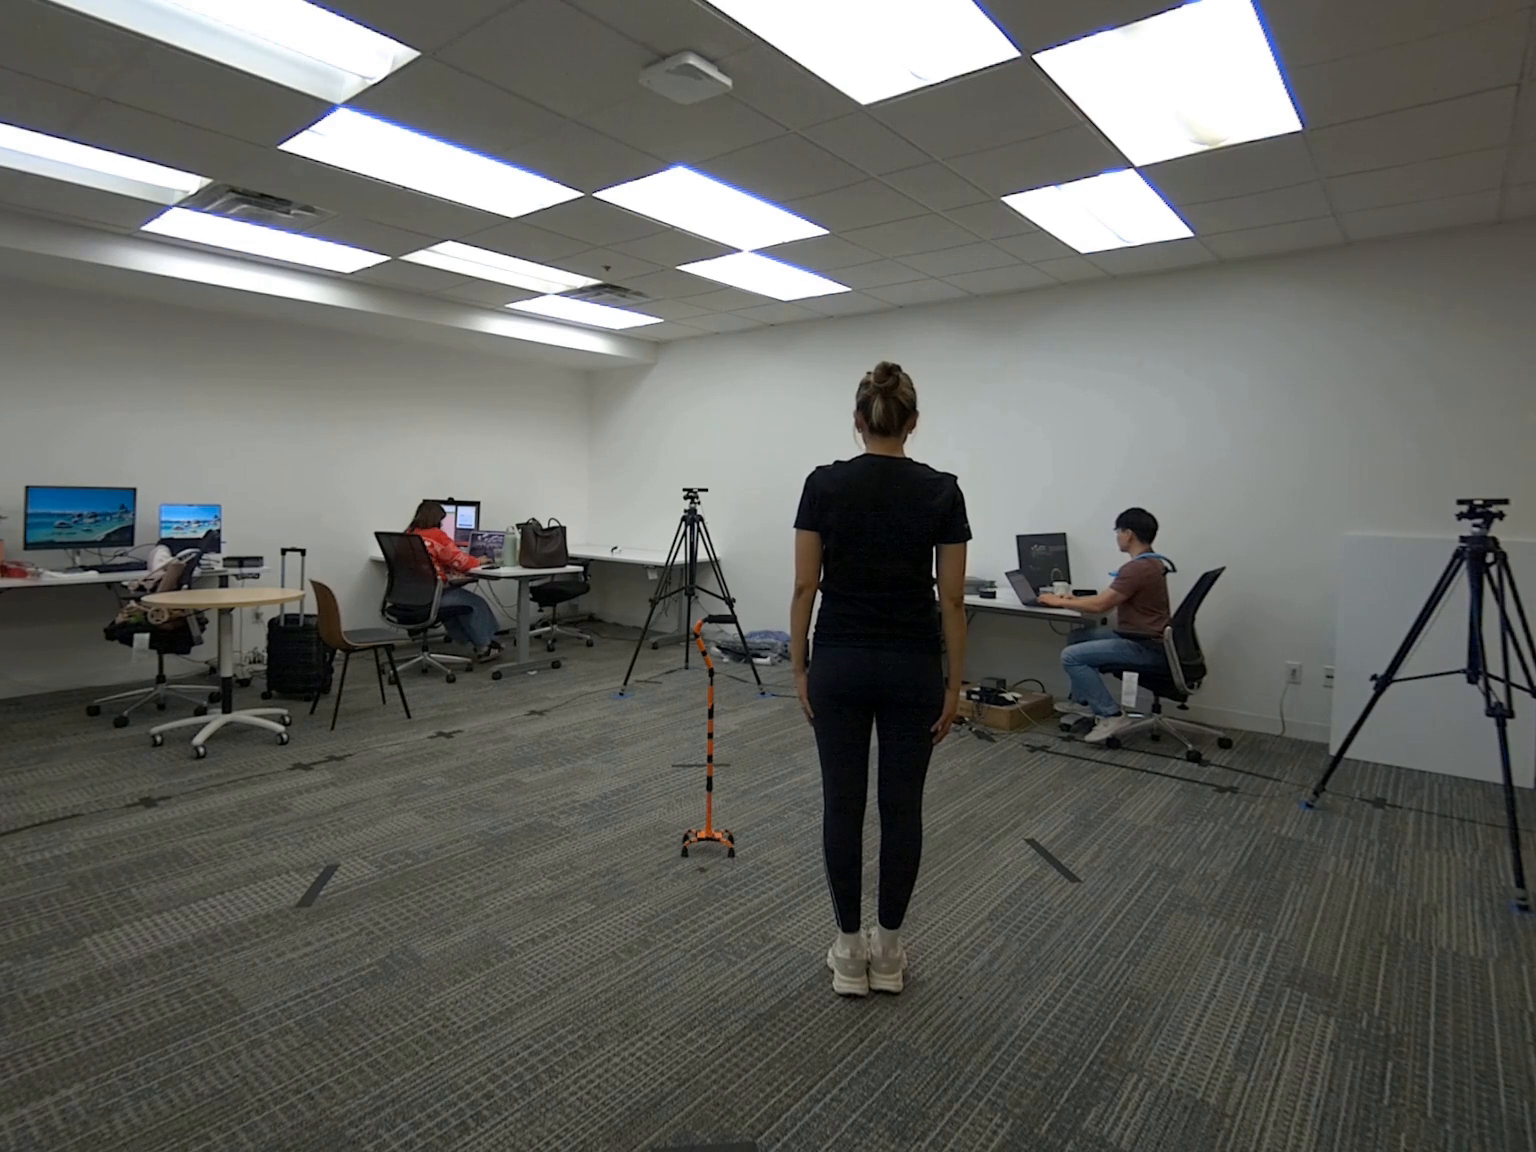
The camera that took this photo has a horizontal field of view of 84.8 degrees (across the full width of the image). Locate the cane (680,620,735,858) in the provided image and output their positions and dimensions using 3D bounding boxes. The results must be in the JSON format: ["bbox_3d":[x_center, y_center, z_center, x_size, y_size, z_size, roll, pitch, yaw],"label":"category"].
[{"bbox_3d":[-0.231,0.603,3.264,0.206,0.906,0.152,1,2,-2],"label":"cane"}]
